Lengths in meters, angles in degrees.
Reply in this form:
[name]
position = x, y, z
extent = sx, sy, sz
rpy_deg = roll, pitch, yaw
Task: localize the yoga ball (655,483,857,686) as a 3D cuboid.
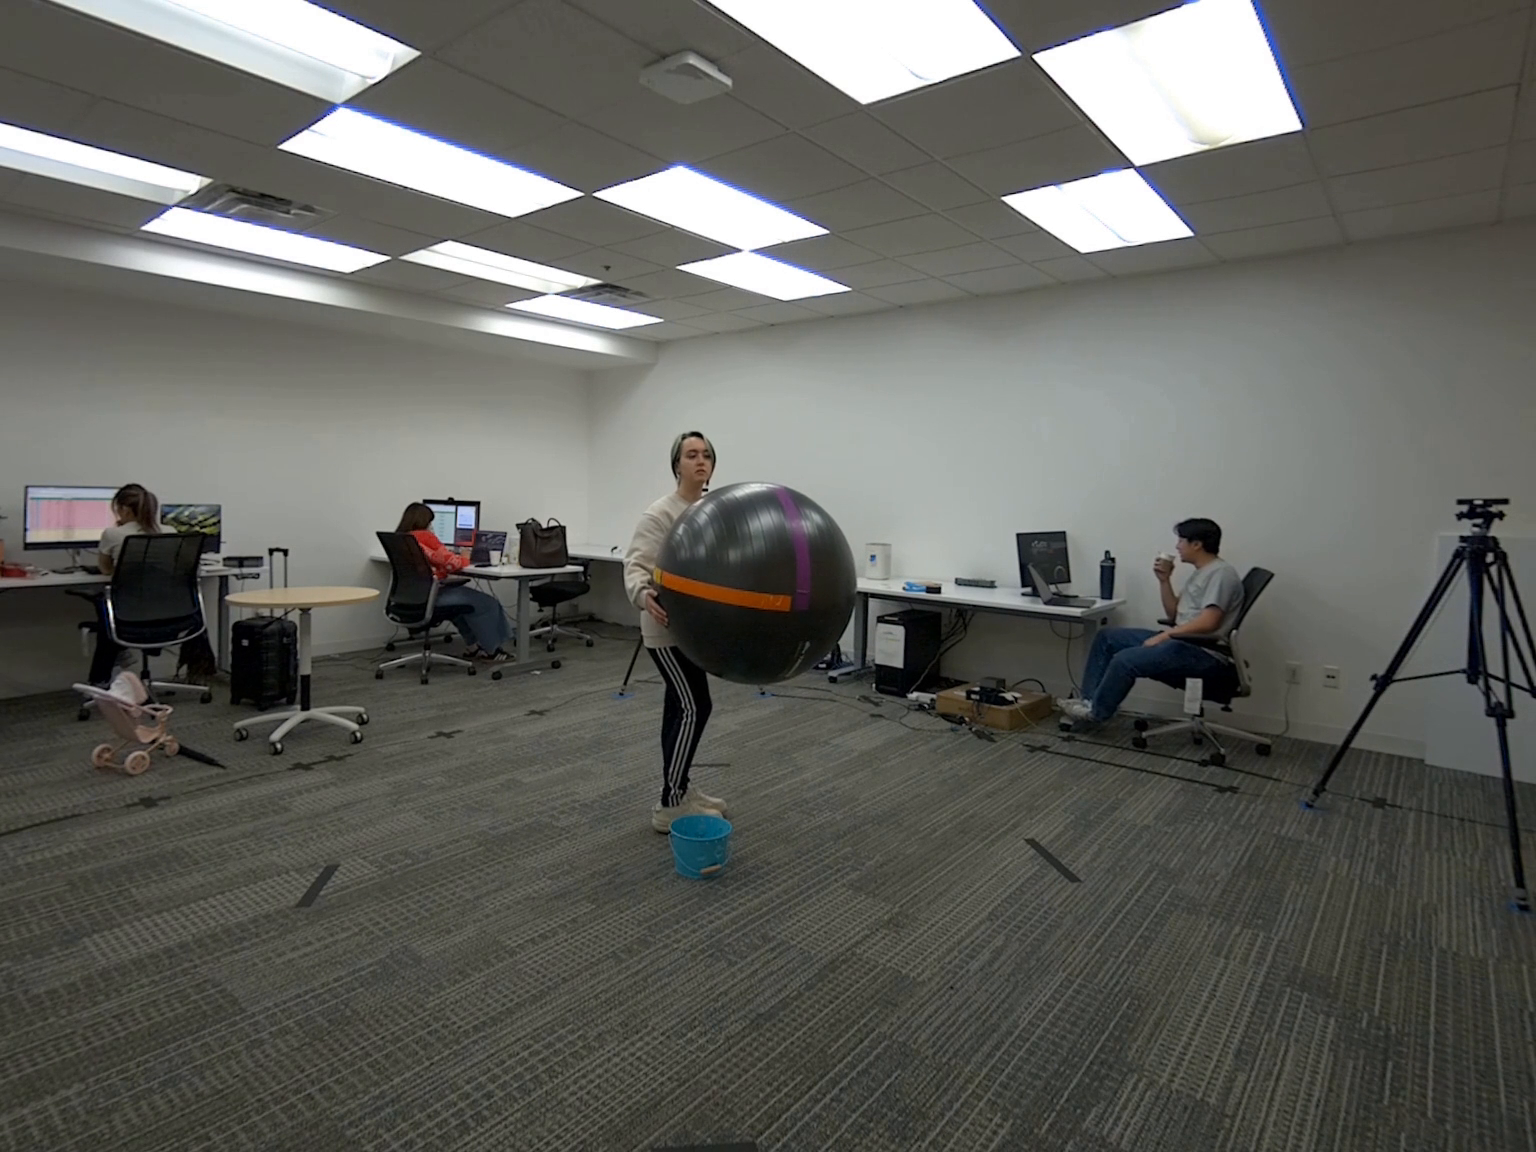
[yoga ball]
position = -0.054, 0.029, 3.187
extent = 0.757, 0.756, 0.762
rpy_deg = 1, 4, -2
